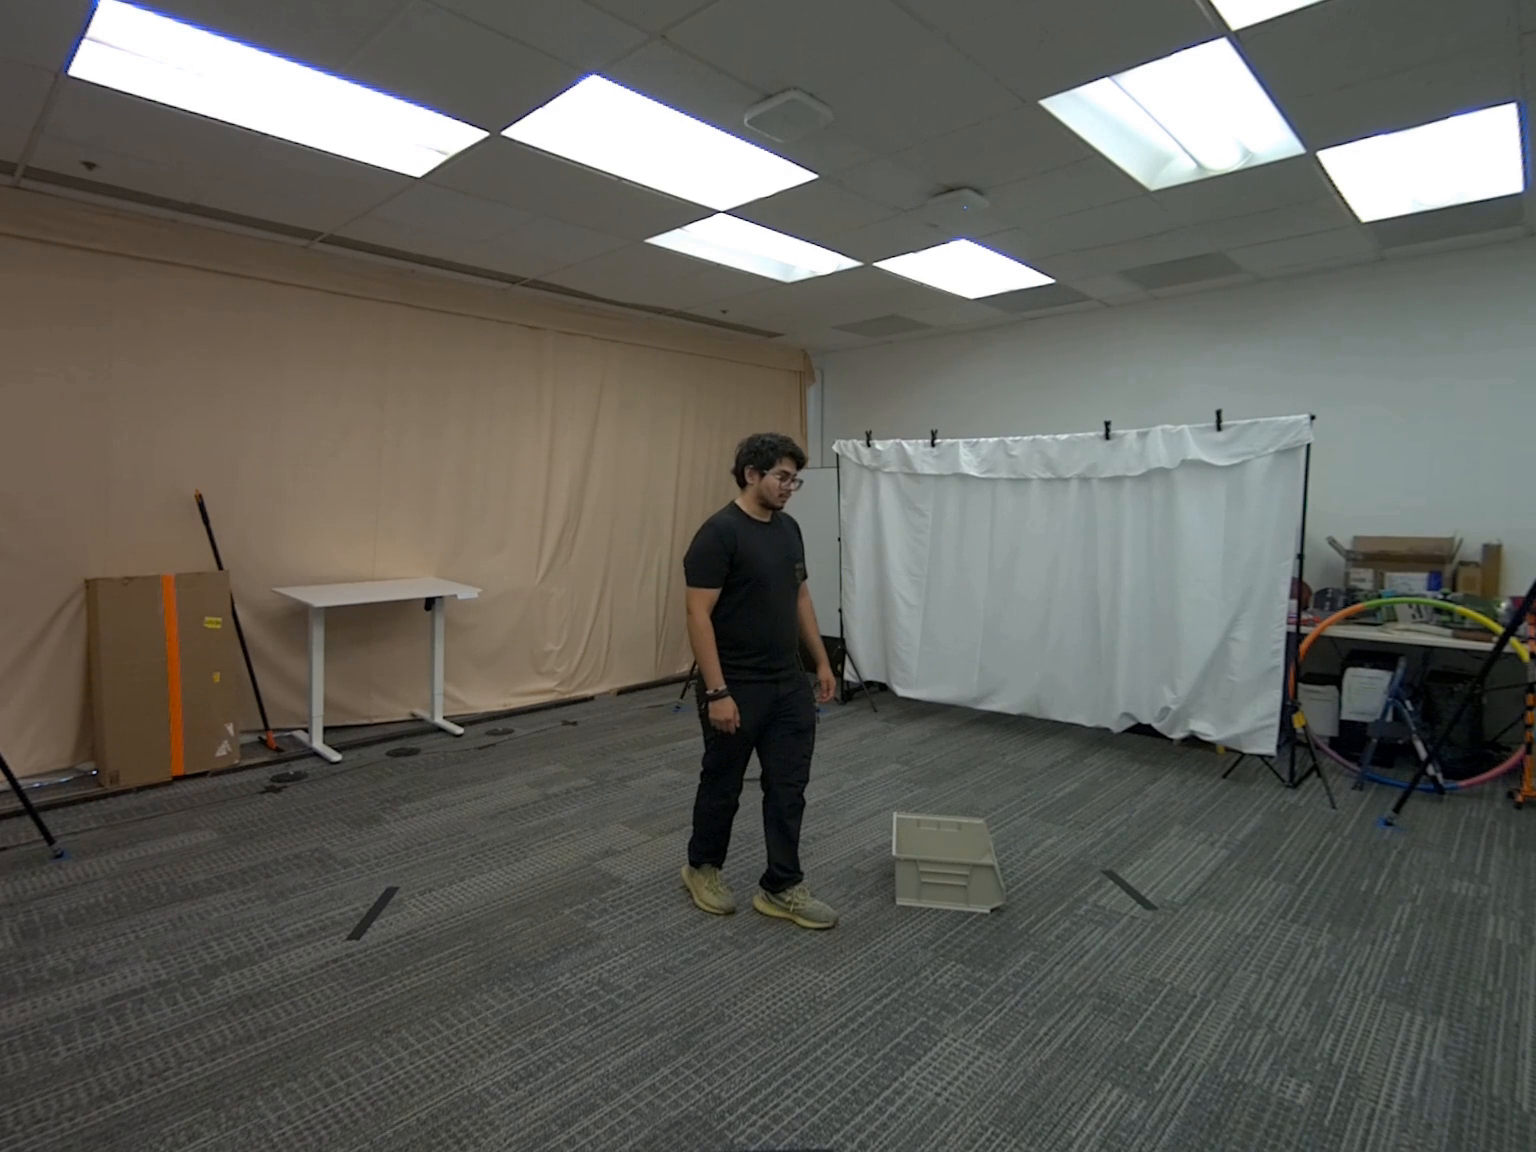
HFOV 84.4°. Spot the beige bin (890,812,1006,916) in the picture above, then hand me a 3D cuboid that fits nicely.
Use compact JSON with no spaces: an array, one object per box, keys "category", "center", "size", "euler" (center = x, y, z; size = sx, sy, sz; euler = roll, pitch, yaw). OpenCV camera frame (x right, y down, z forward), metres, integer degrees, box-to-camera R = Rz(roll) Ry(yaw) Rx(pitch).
[{"category":"beige bin","center":[0.658,1.045,3.095],"size":[0.382,0.188,0.418],"euler":[0,5,10]}]
